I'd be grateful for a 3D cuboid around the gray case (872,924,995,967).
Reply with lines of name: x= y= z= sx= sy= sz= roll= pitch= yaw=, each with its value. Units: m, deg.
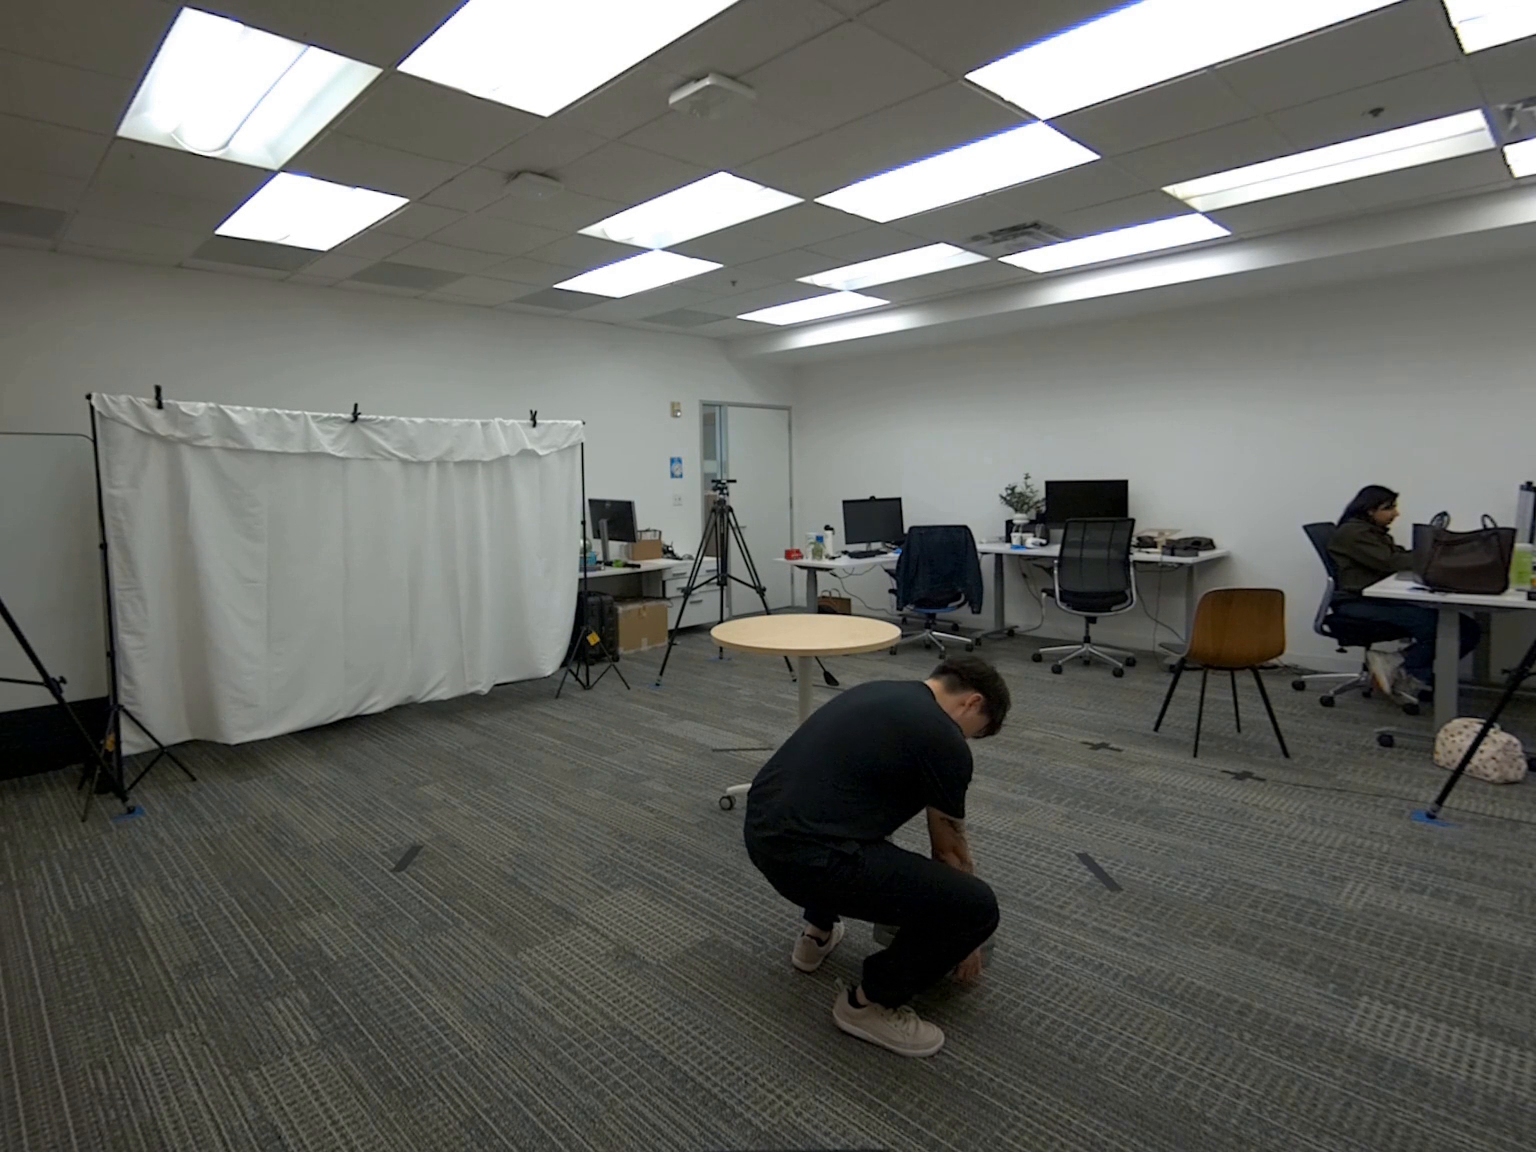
gray case: x=0.481 y=1.003 z=2.376 sx=0.252 sy=0.104 sz=0.265 roll=11 pitch=-1 yaw=-40
